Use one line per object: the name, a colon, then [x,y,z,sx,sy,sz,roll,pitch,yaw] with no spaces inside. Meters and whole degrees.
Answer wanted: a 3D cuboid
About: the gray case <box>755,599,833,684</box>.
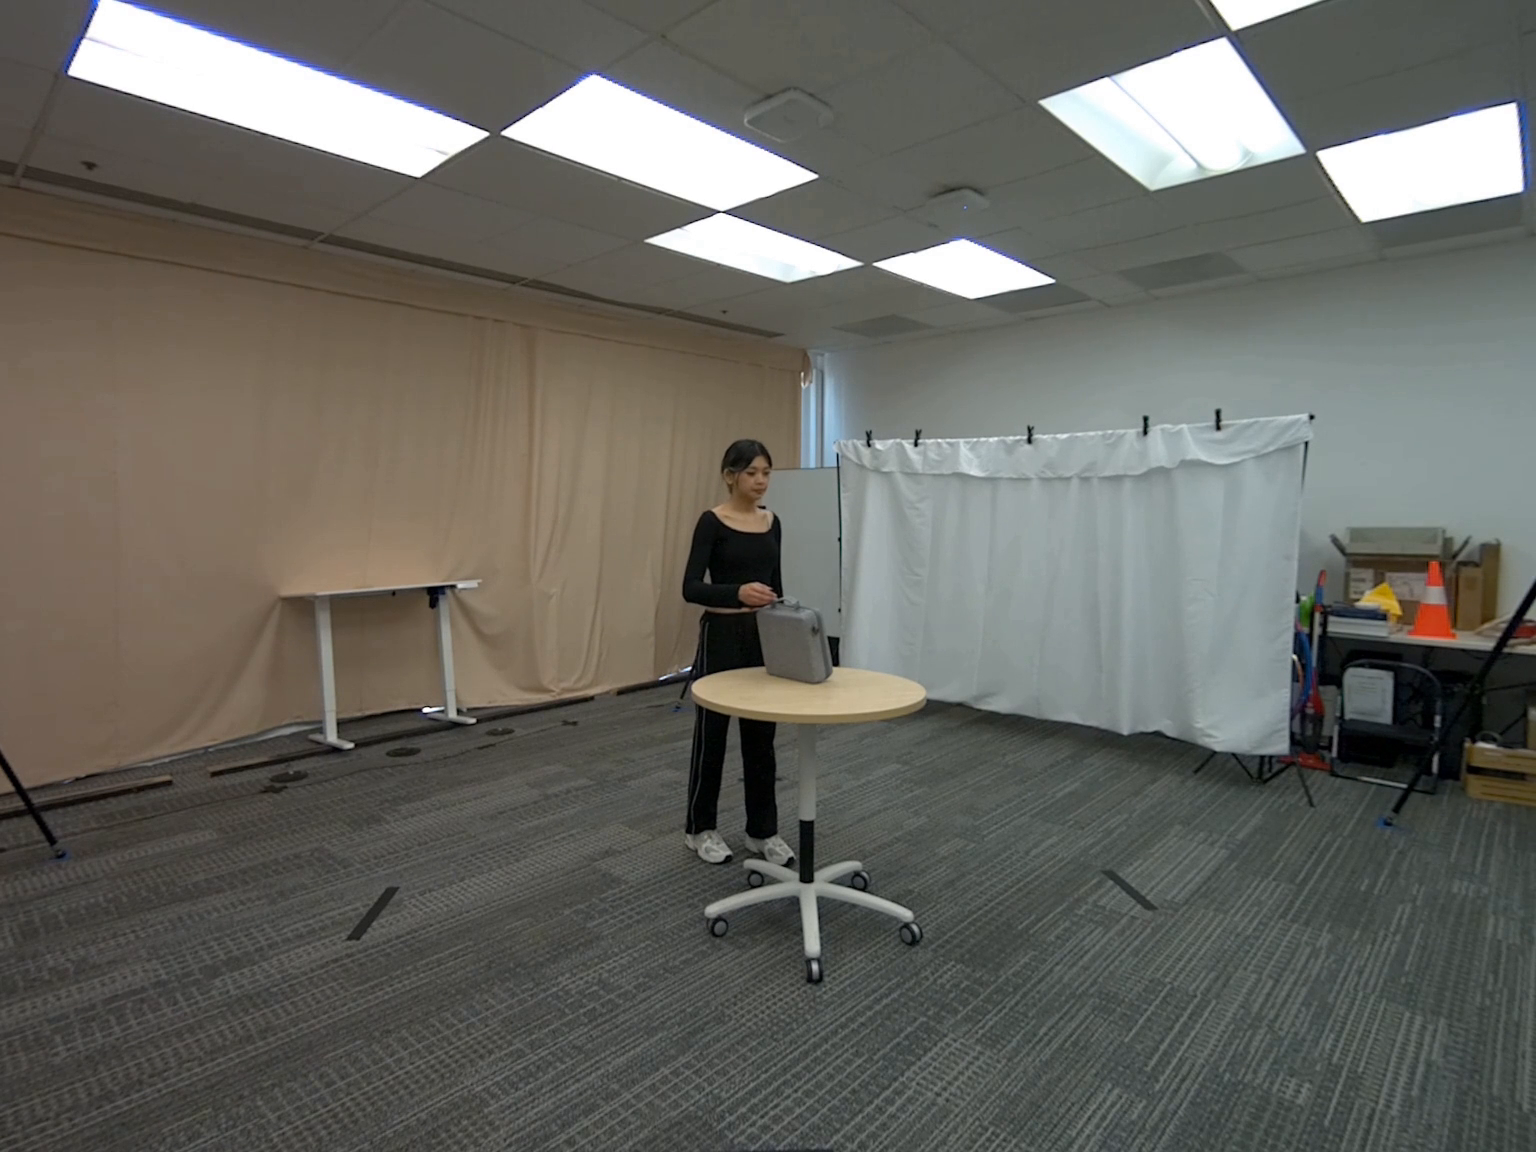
gray case: [0.096,0.228,2.907,0.102,0.258,0.265,-17,13,-38]
